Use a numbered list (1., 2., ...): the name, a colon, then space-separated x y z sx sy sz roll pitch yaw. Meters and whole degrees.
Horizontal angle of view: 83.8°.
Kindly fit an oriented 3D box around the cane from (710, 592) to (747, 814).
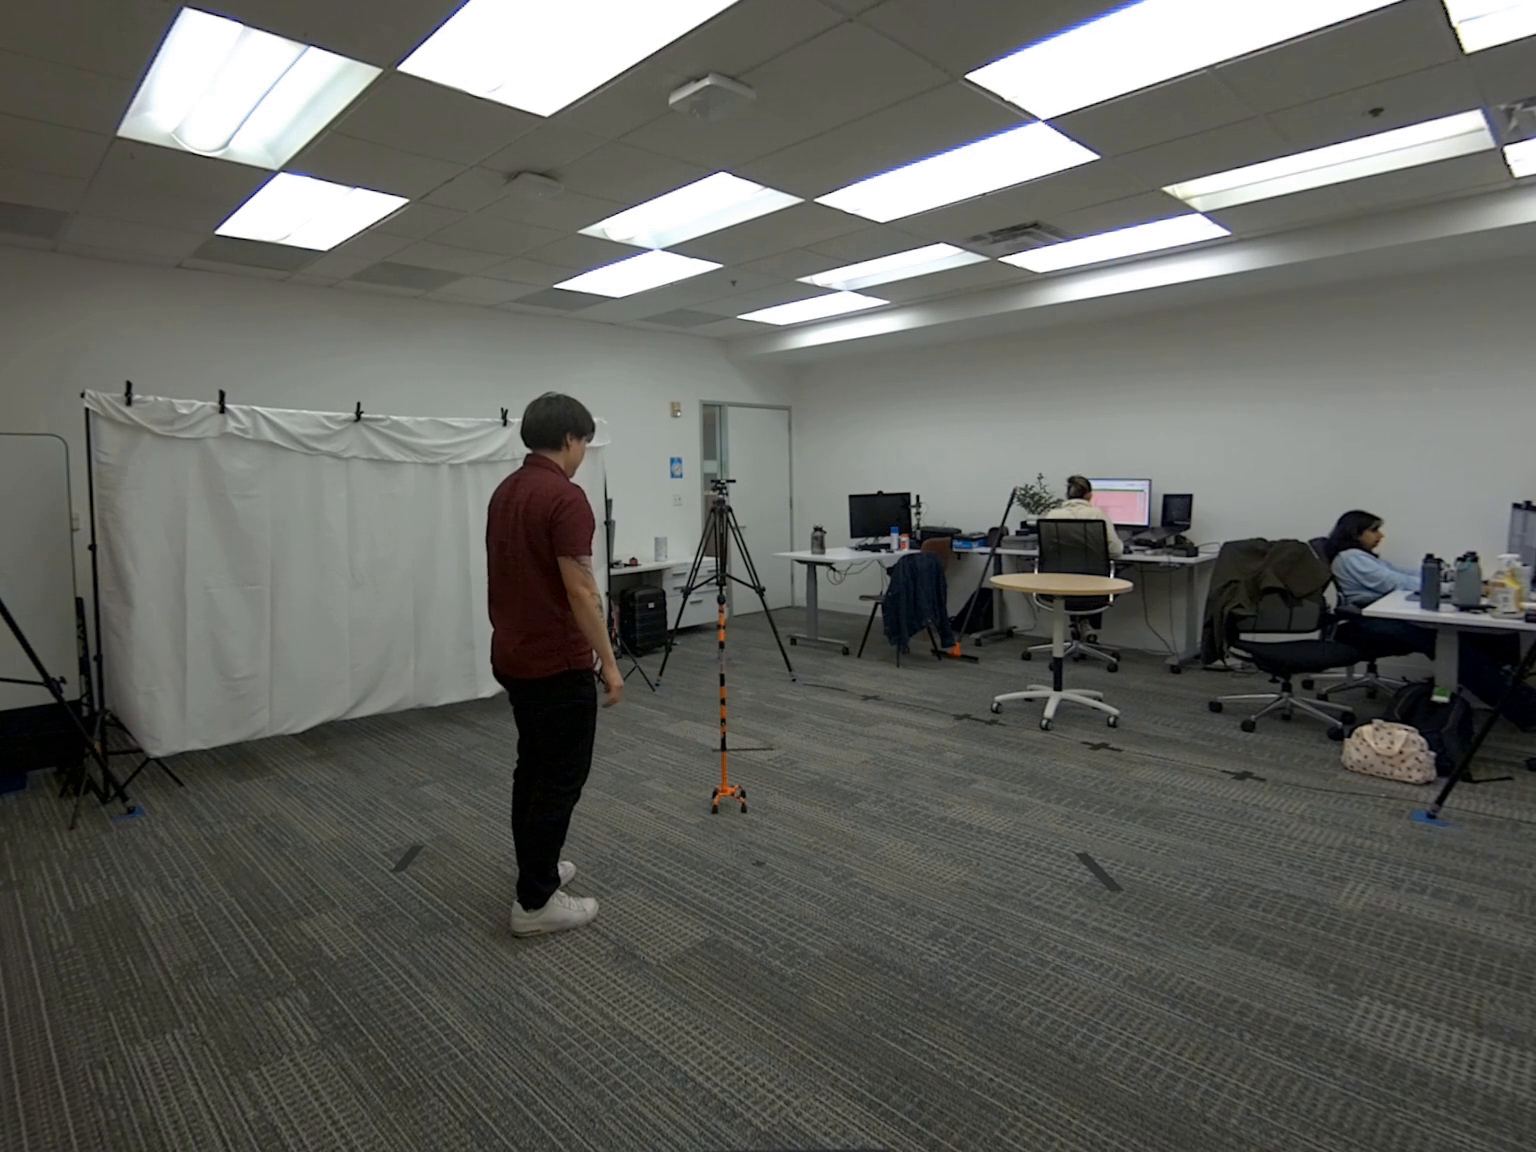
1. cane: -0.179 0.537 3.660 0.151 0.905 0.207 -1 3 -3
